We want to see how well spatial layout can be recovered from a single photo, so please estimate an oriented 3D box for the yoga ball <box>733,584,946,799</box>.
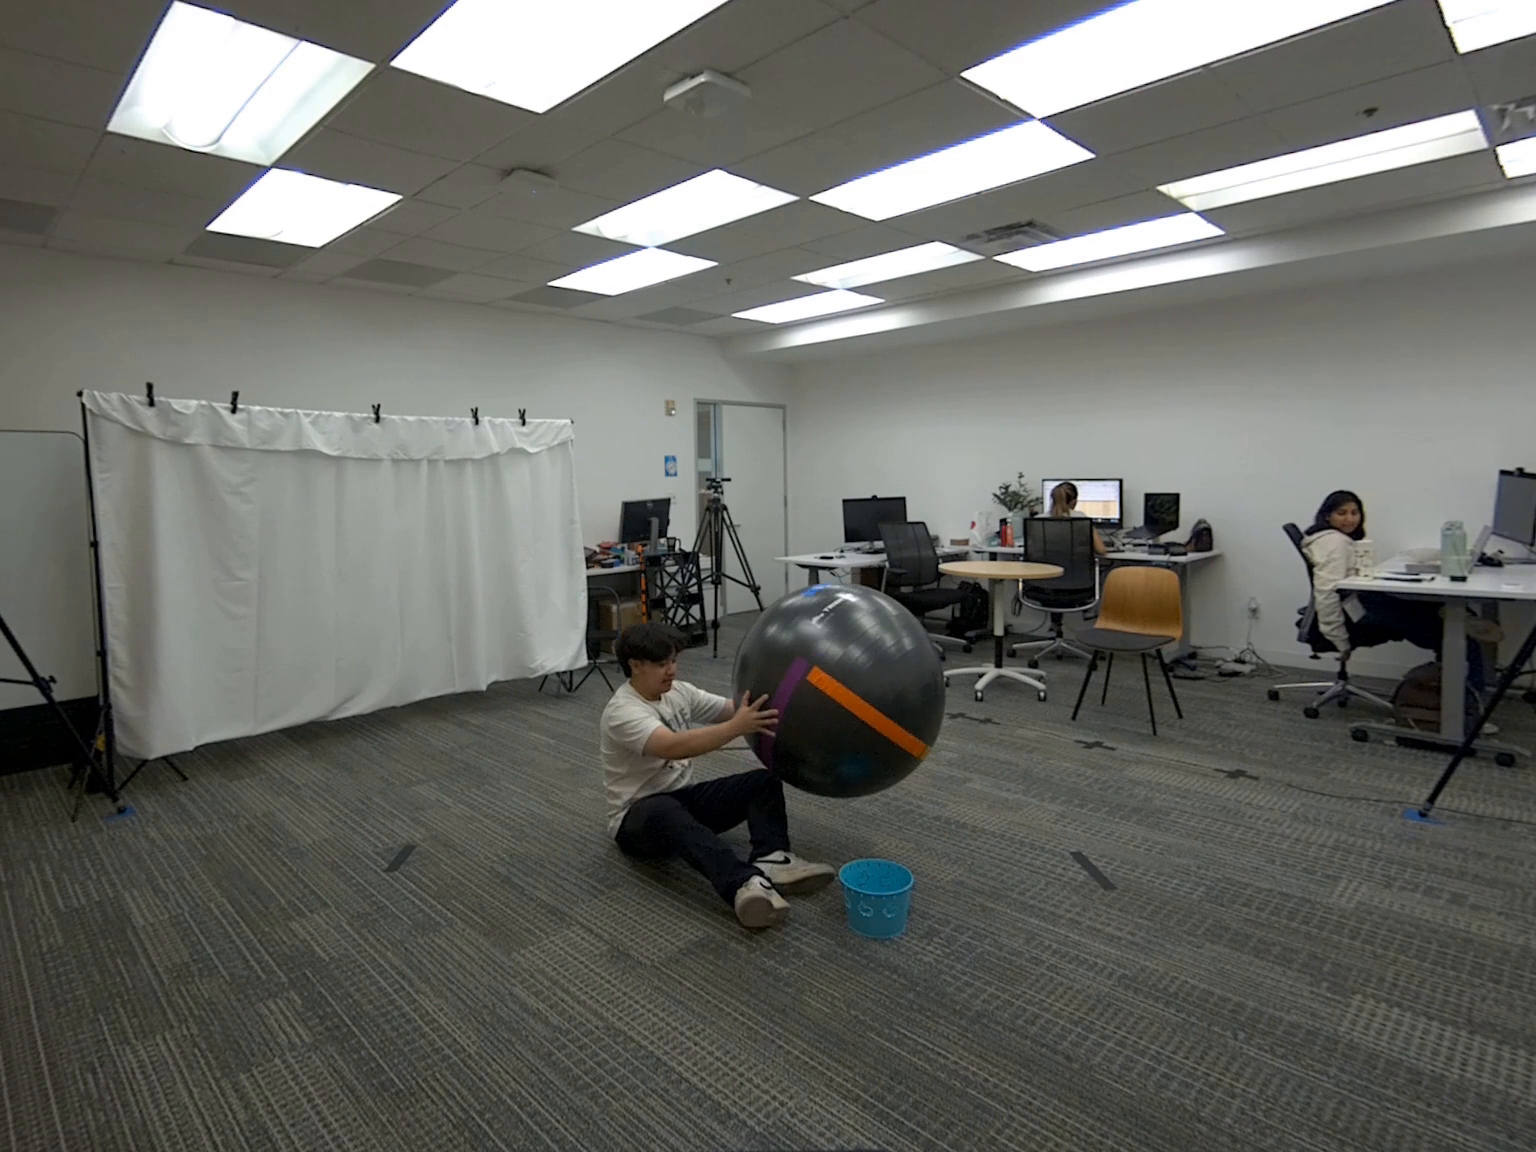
[{"bbox_3d":[0.246,0.413,3.071,0.757,0.755,0.762,-1,5,-2],"label":"yoga ball"}]
